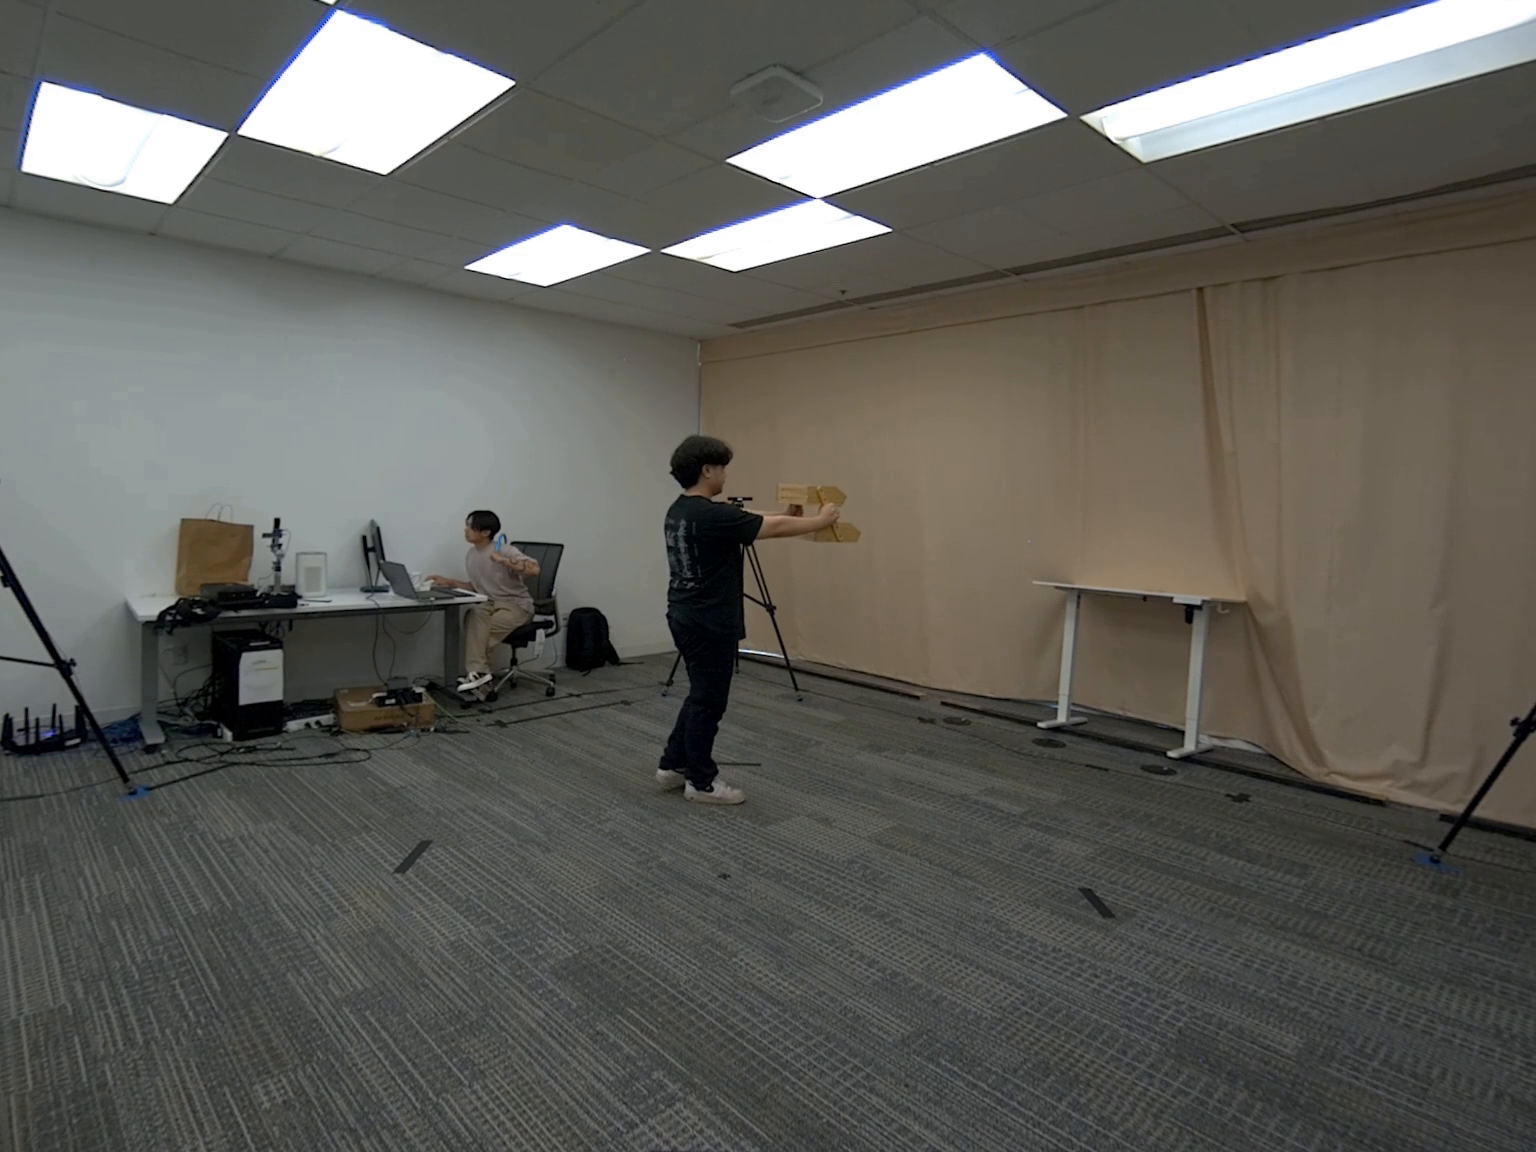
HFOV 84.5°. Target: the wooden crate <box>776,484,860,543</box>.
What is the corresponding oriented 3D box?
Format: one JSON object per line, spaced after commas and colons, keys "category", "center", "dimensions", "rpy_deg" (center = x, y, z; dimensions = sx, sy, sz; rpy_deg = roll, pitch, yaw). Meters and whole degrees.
{"category": "wooden crate", "center": [0.233, -0.313, 4.033], "dimensions": [0.297, 0.272, 0.331], "rpy_deg": [-2, 7, -26]}
